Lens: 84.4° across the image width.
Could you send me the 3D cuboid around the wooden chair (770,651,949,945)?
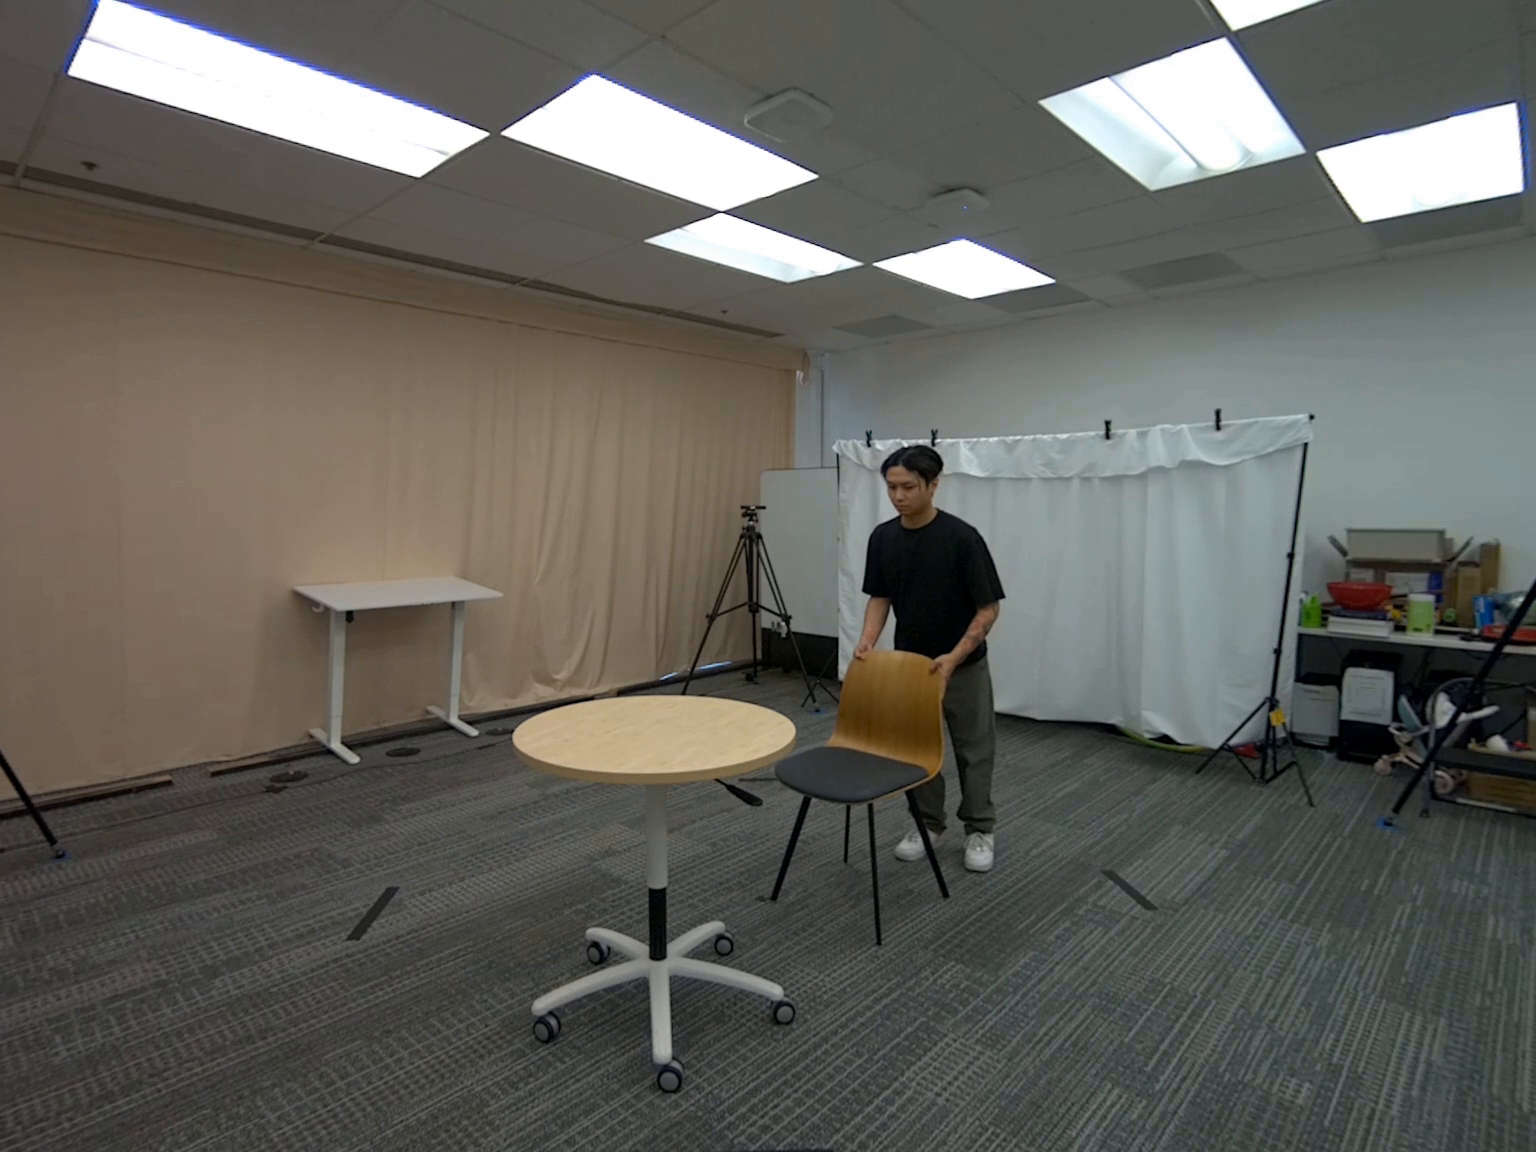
[{"bbox_3d":[0.324,0.718,2.939,0.494,0.877,0.506,3,1,42],"label":"wooden chair"}]
